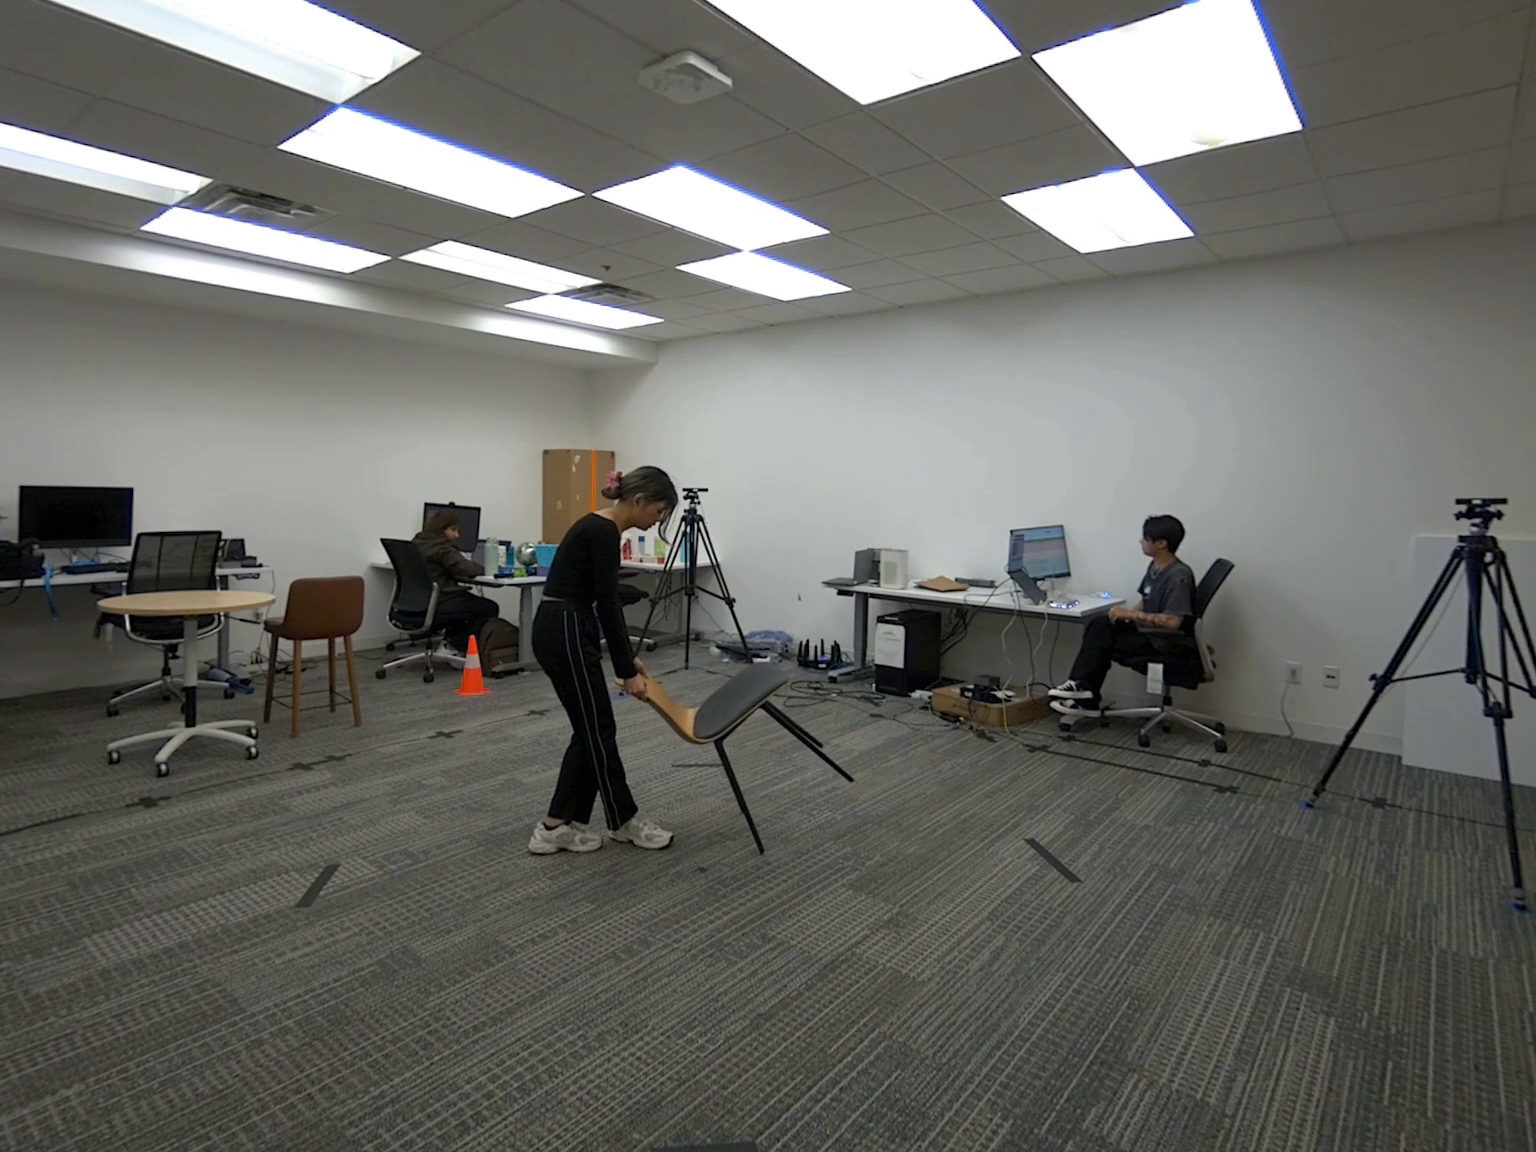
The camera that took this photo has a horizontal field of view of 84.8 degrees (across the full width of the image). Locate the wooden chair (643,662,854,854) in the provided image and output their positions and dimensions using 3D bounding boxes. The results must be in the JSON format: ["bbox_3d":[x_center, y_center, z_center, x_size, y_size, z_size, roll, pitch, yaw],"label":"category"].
[{"bbox_3d":[-0.142,0.564,3.434,0.523,0.868,0.484,-42,8,-4],"label":"wooden chair"}]
